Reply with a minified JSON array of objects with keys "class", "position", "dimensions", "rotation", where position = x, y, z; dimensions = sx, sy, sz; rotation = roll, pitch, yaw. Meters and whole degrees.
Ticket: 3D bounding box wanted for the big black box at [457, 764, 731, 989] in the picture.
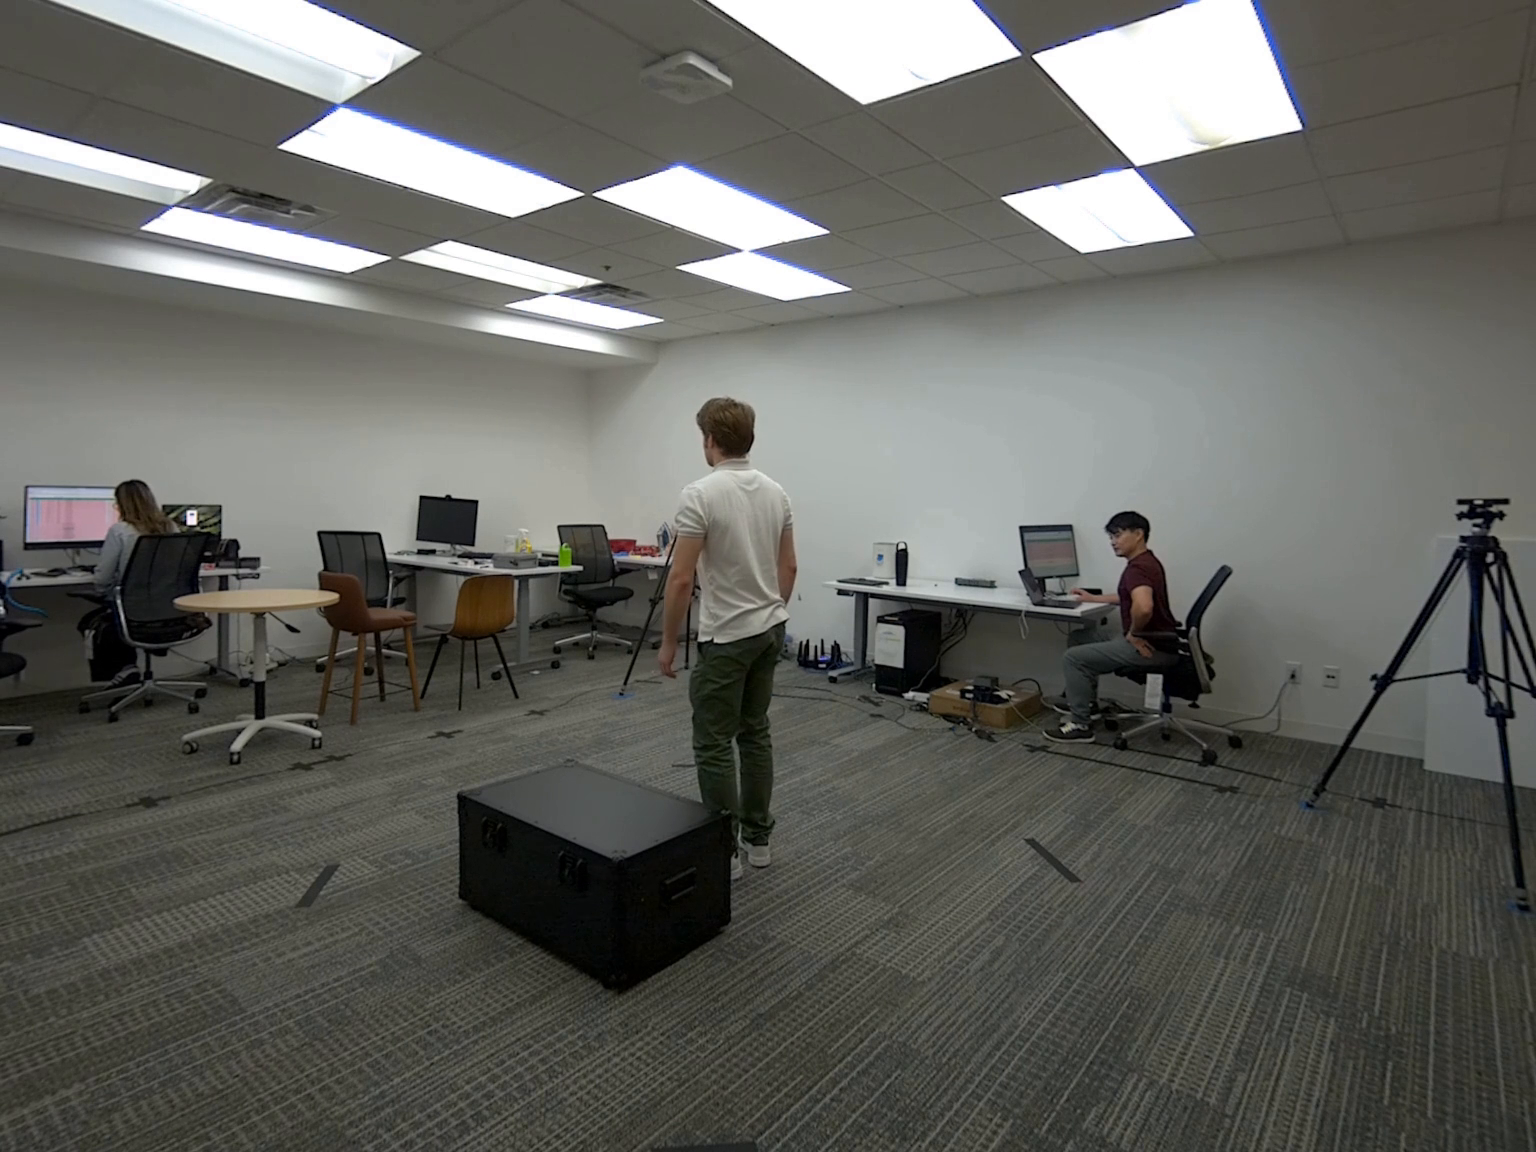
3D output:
[{"class":"big black box","position":[-0.603,0.902,2.761],"dimensions":[0.897,0.383,0.508],"rotation":[4,7,39]}]
